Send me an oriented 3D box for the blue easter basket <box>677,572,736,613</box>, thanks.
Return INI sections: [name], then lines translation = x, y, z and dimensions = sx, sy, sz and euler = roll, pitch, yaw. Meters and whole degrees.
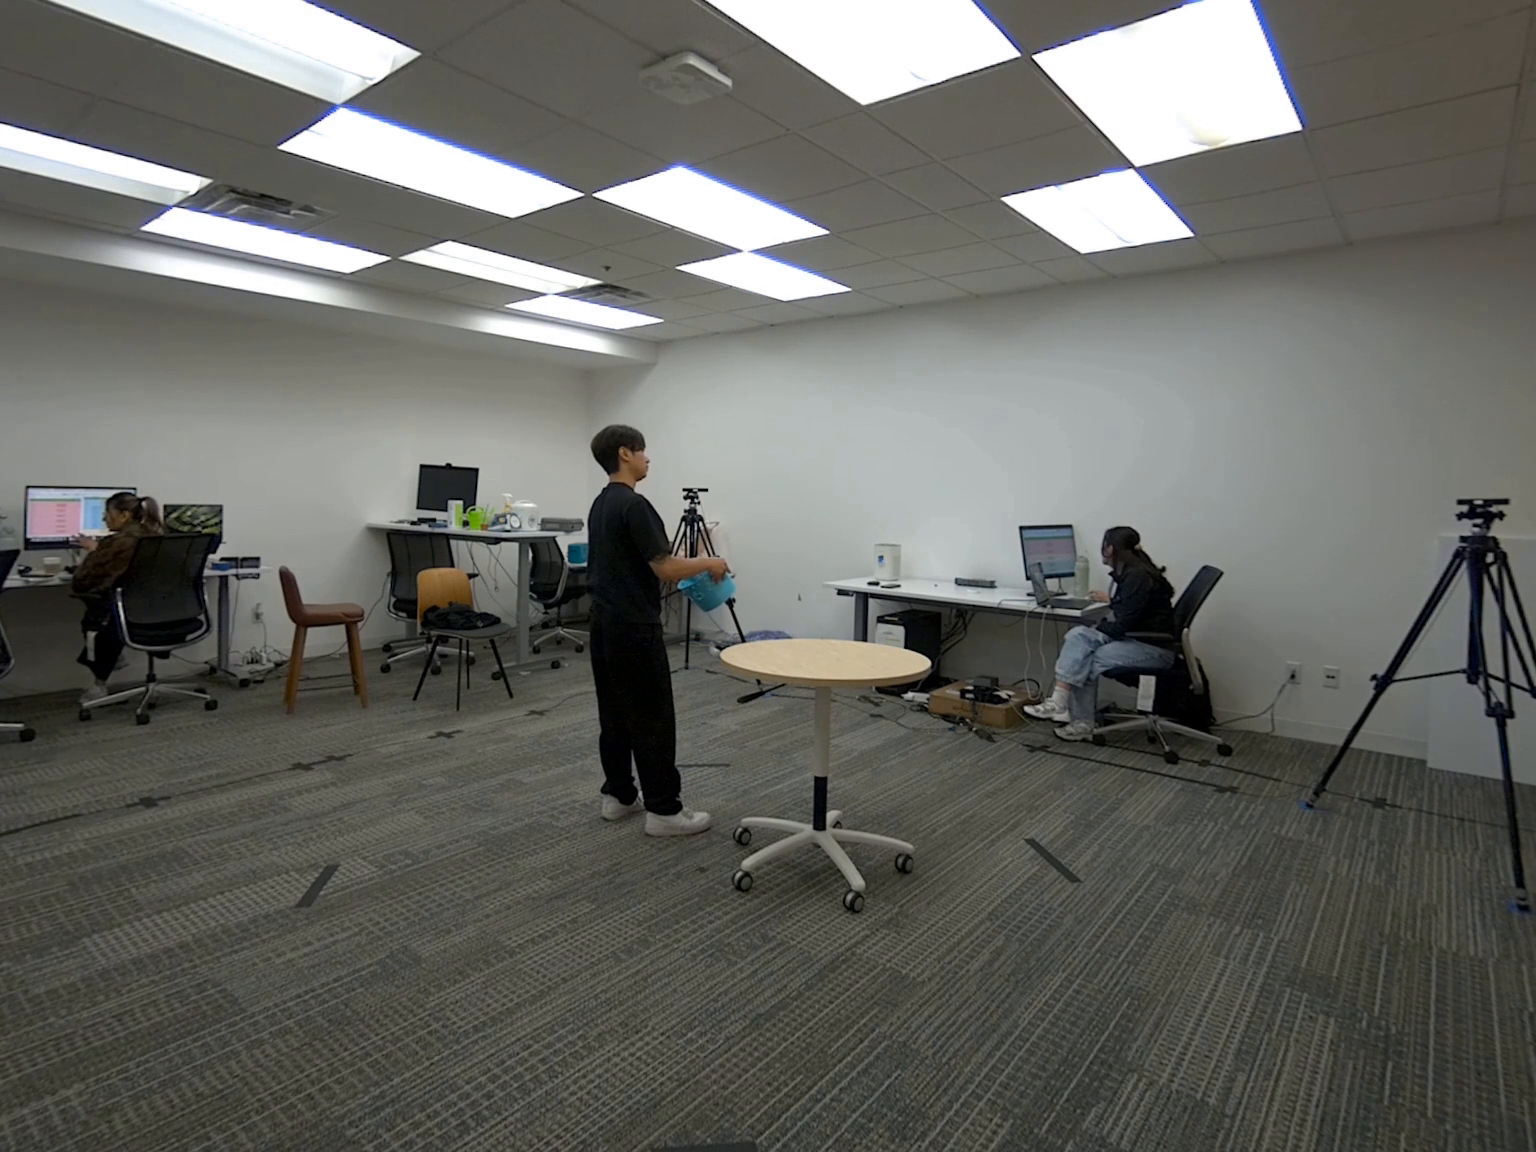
[blue easter basket]
translation = -0.265, 0.037, 3.701
dimensions = 0.244, 0.153, 0.247
euler = -33, 13, 6
